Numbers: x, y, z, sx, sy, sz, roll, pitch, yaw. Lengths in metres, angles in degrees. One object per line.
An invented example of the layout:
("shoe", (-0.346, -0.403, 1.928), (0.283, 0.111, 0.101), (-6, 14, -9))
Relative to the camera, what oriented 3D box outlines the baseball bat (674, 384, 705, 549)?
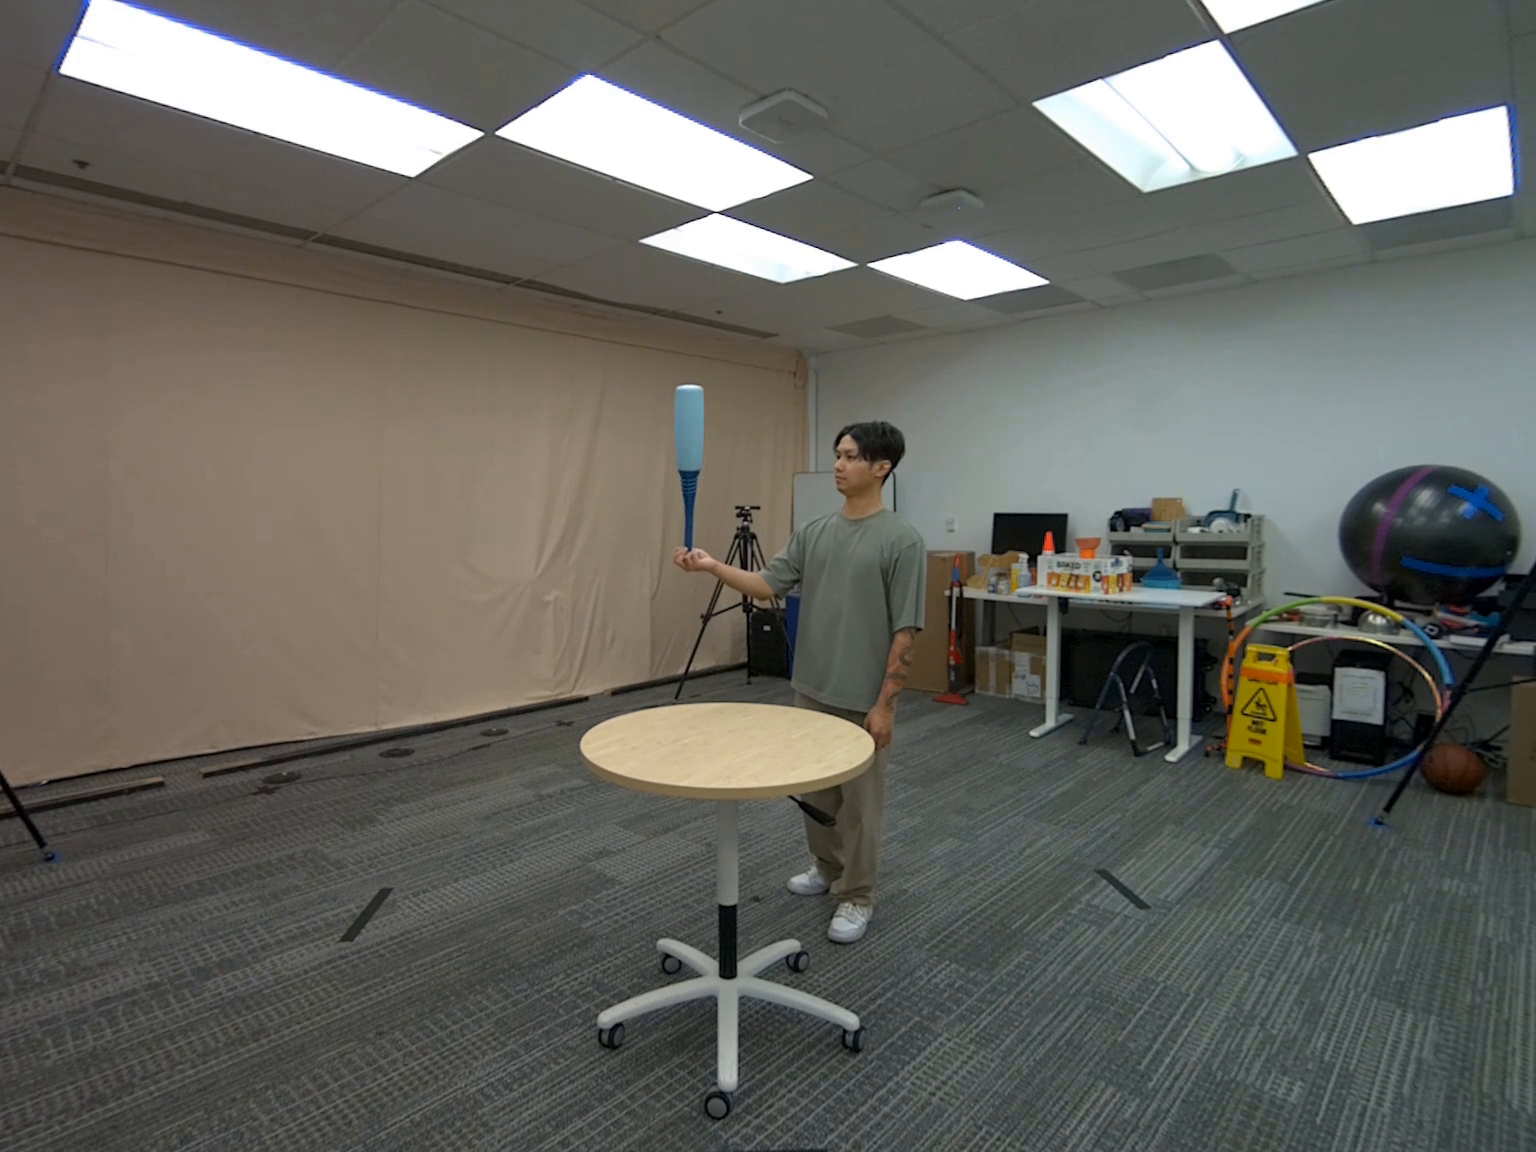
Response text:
("baseball bat", (-0.235, -0.304, 2.564), (0.089, 0.539, 0.090), (1, 13, -2))
